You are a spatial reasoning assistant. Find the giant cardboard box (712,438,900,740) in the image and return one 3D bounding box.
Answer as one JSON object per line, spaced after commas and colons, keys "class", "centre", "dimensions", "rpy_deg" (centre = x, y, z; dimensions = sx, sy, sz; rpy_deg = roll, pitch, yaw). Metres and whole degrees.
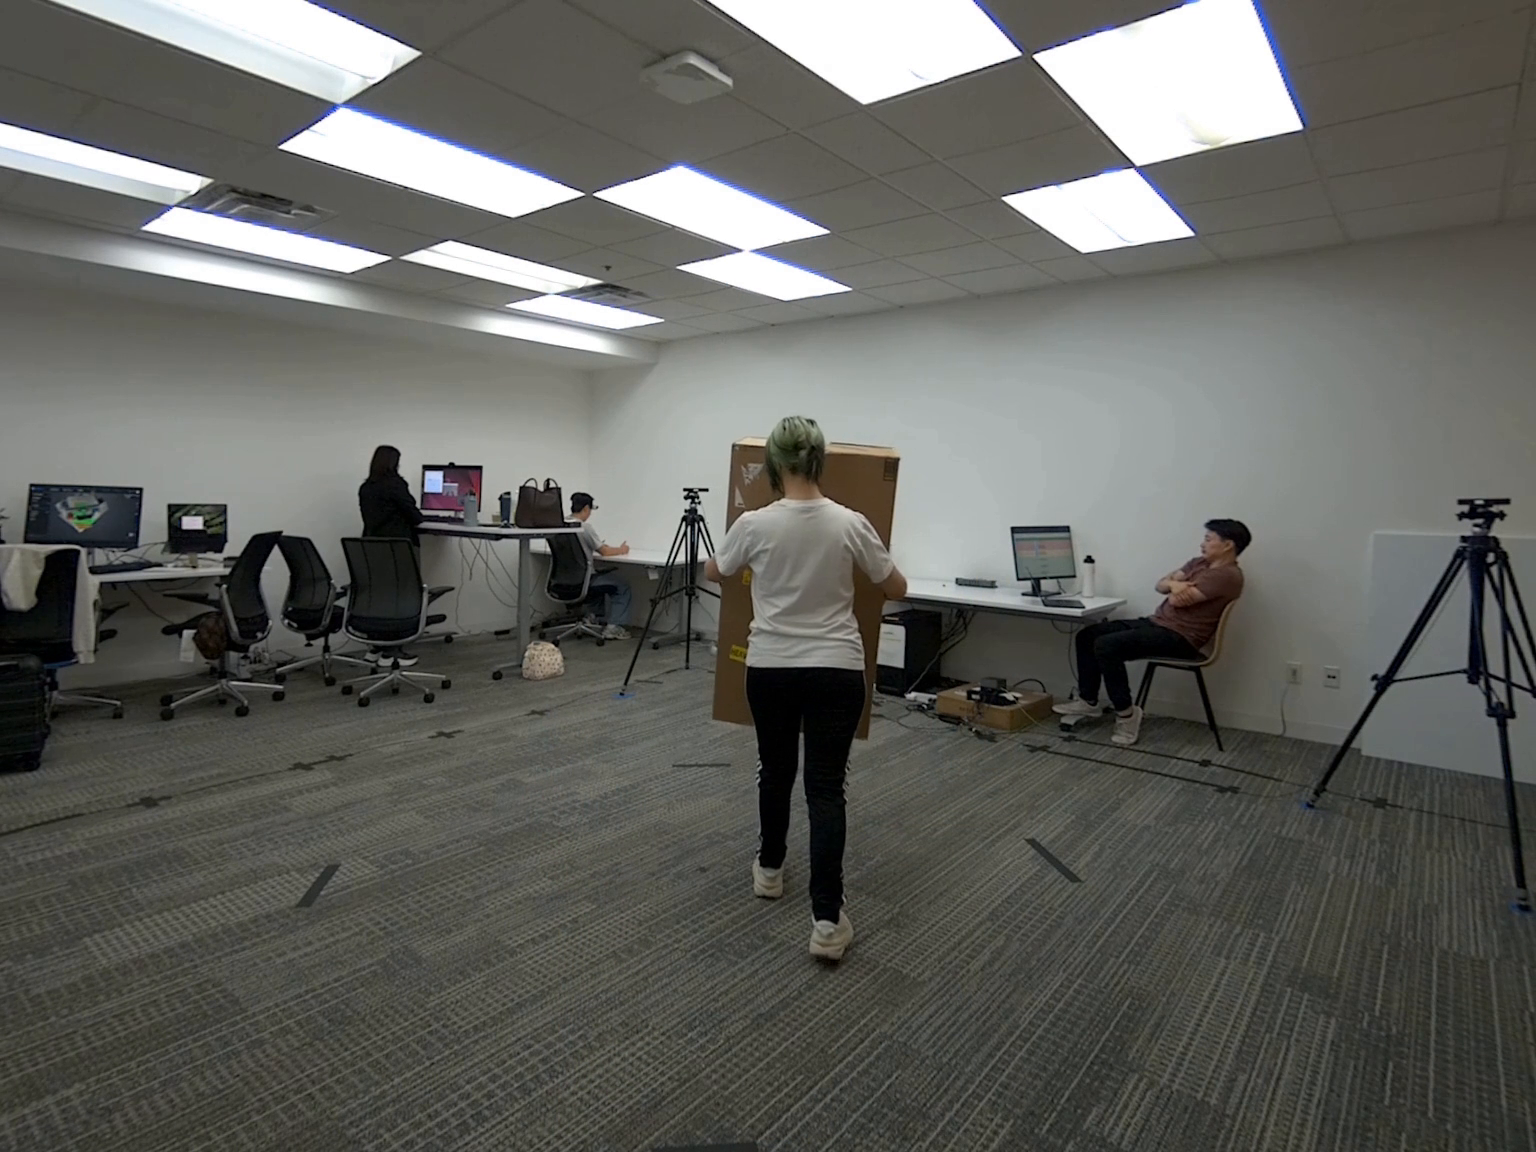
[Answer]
{"class": "giant cardboard box", "centre": [0.128, 0.020, 3.194], "dimensions": [0.589, 1.018, 0.447], "rpy_deg": [6, 10, 7]}
